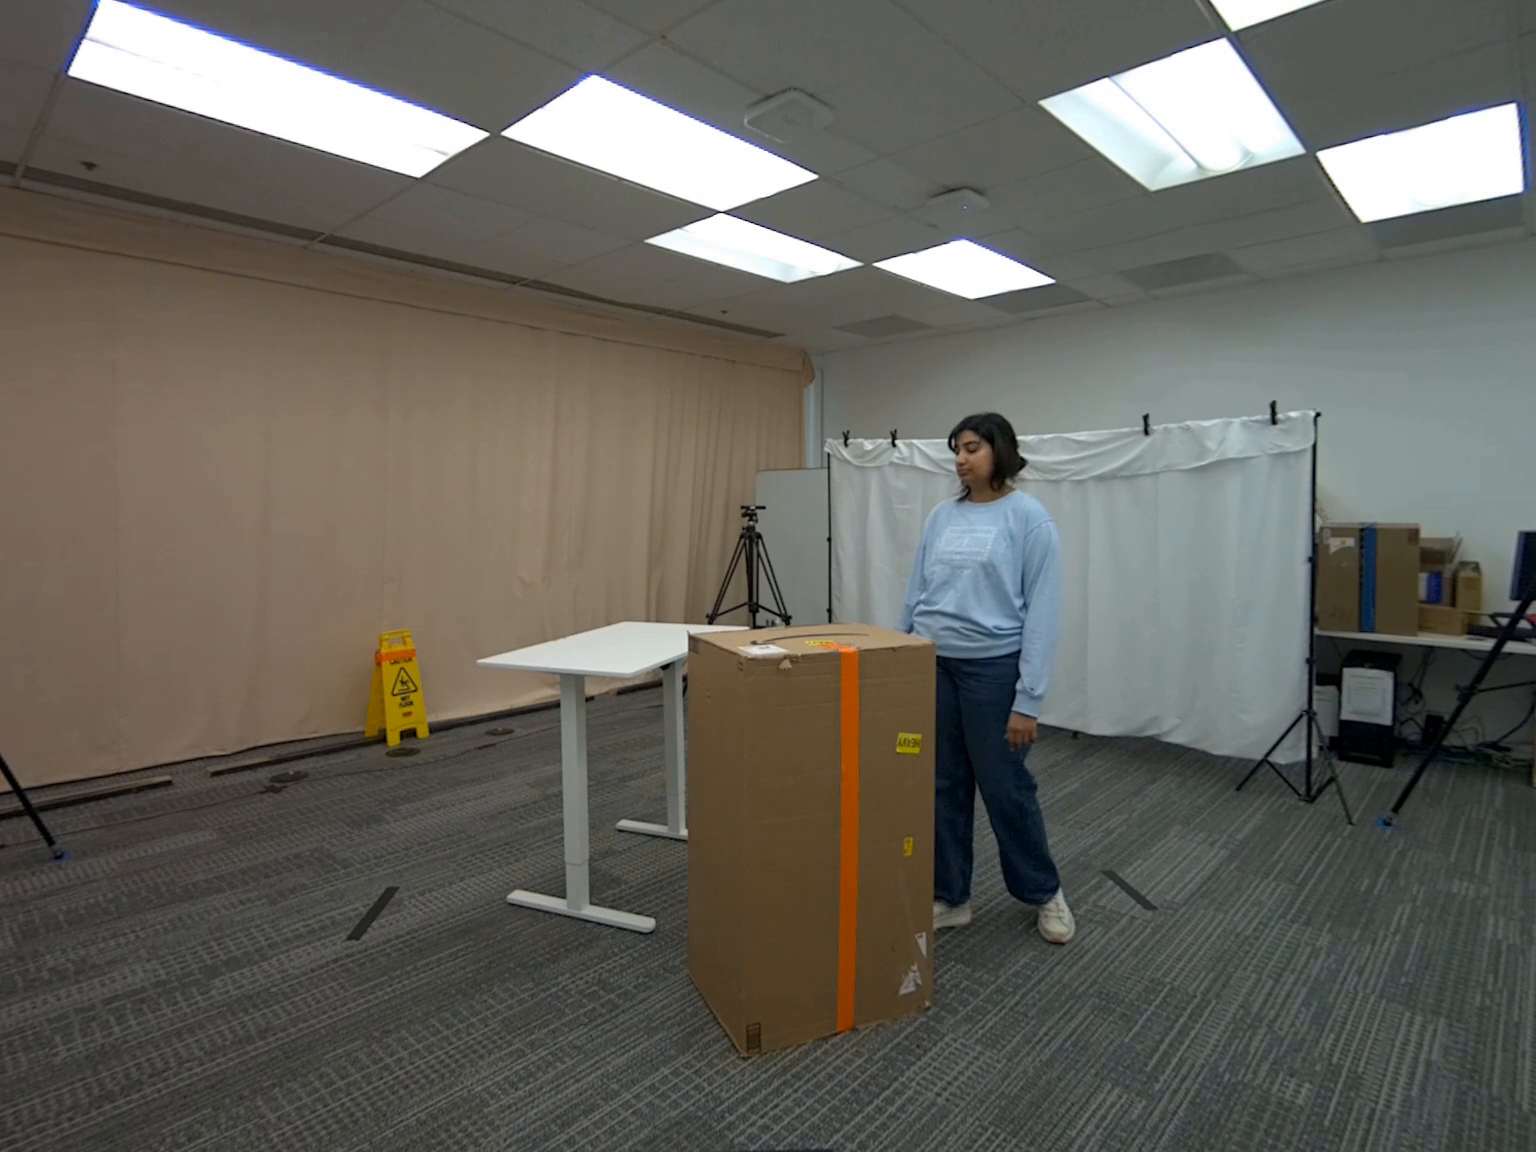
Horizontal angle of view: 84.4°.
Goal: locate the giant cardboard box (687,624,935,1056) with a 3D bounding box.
[{"bbox_3d":[0.112,0.684,2.392,0.564,1.024,0.437,-1,4,-24],"label":"giant cardboard box"}]
